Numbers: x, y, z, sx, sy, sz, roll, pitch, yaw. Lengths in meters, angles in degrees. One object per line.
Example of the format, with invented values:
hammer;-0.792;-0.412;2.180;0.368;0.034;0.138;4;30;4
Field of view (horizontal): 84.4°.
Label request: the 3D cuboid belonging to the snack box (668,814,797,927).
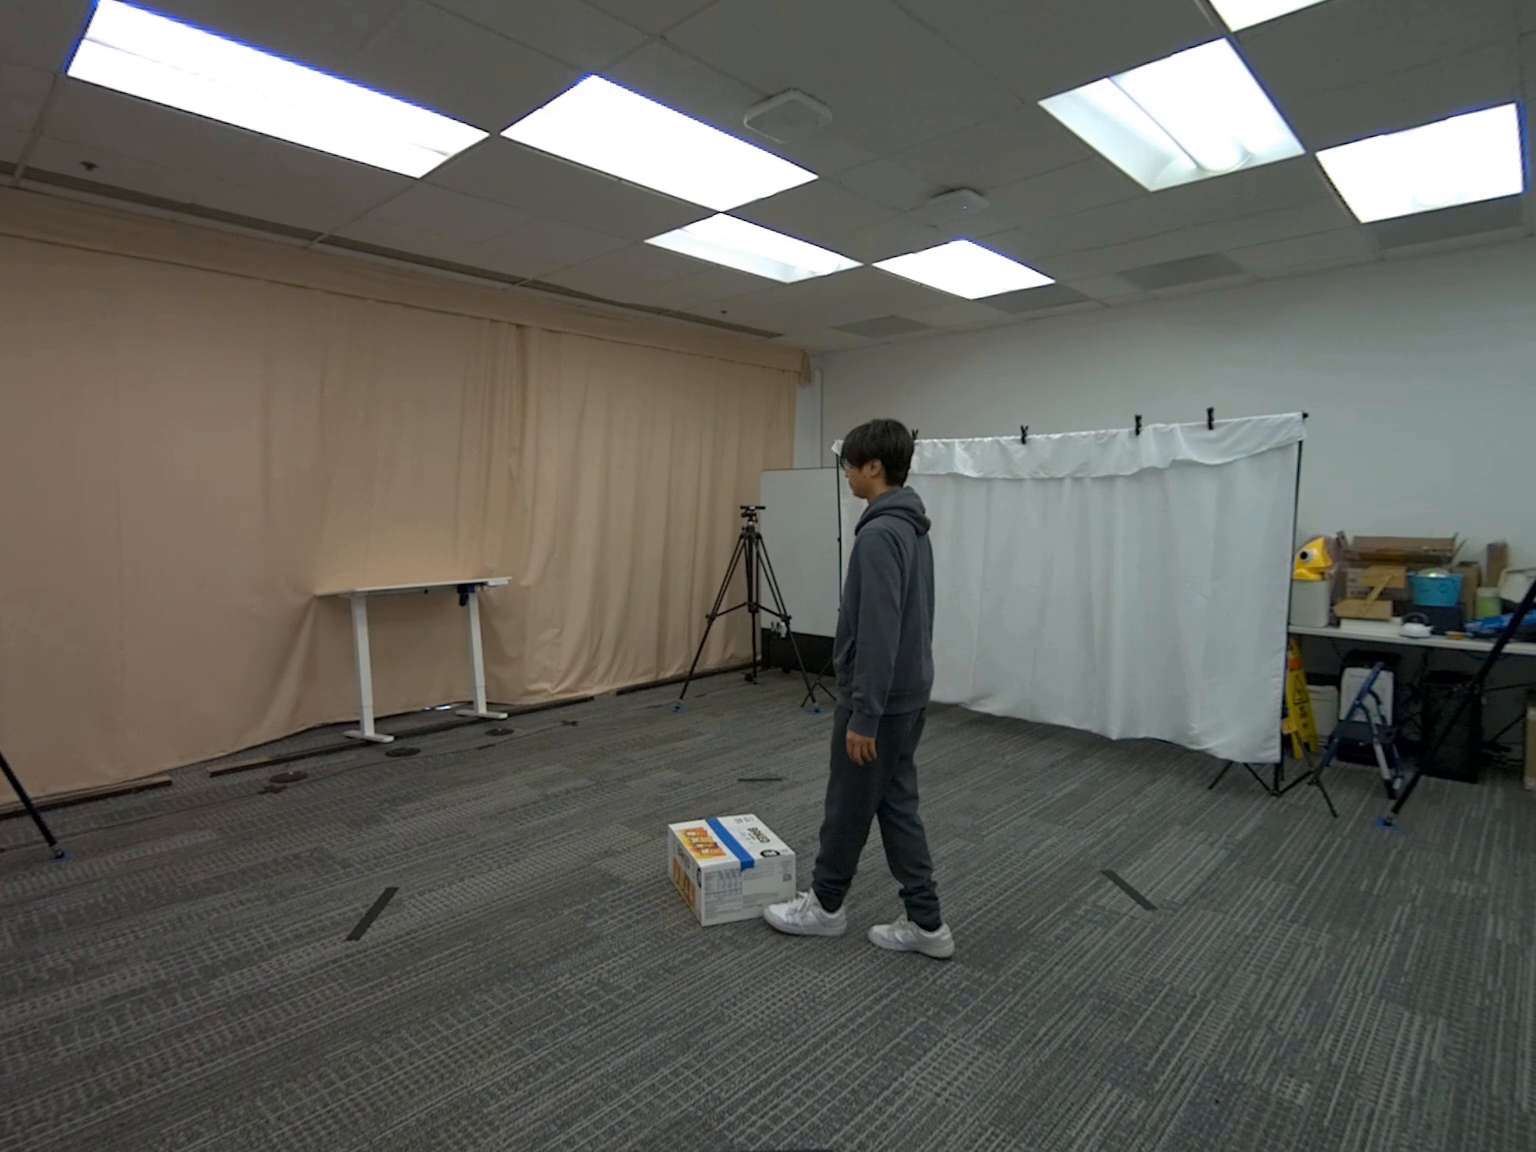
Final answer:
snack box;-0.136;1.040;3.012;0.333;0.205;0.414;-2;4;-21
